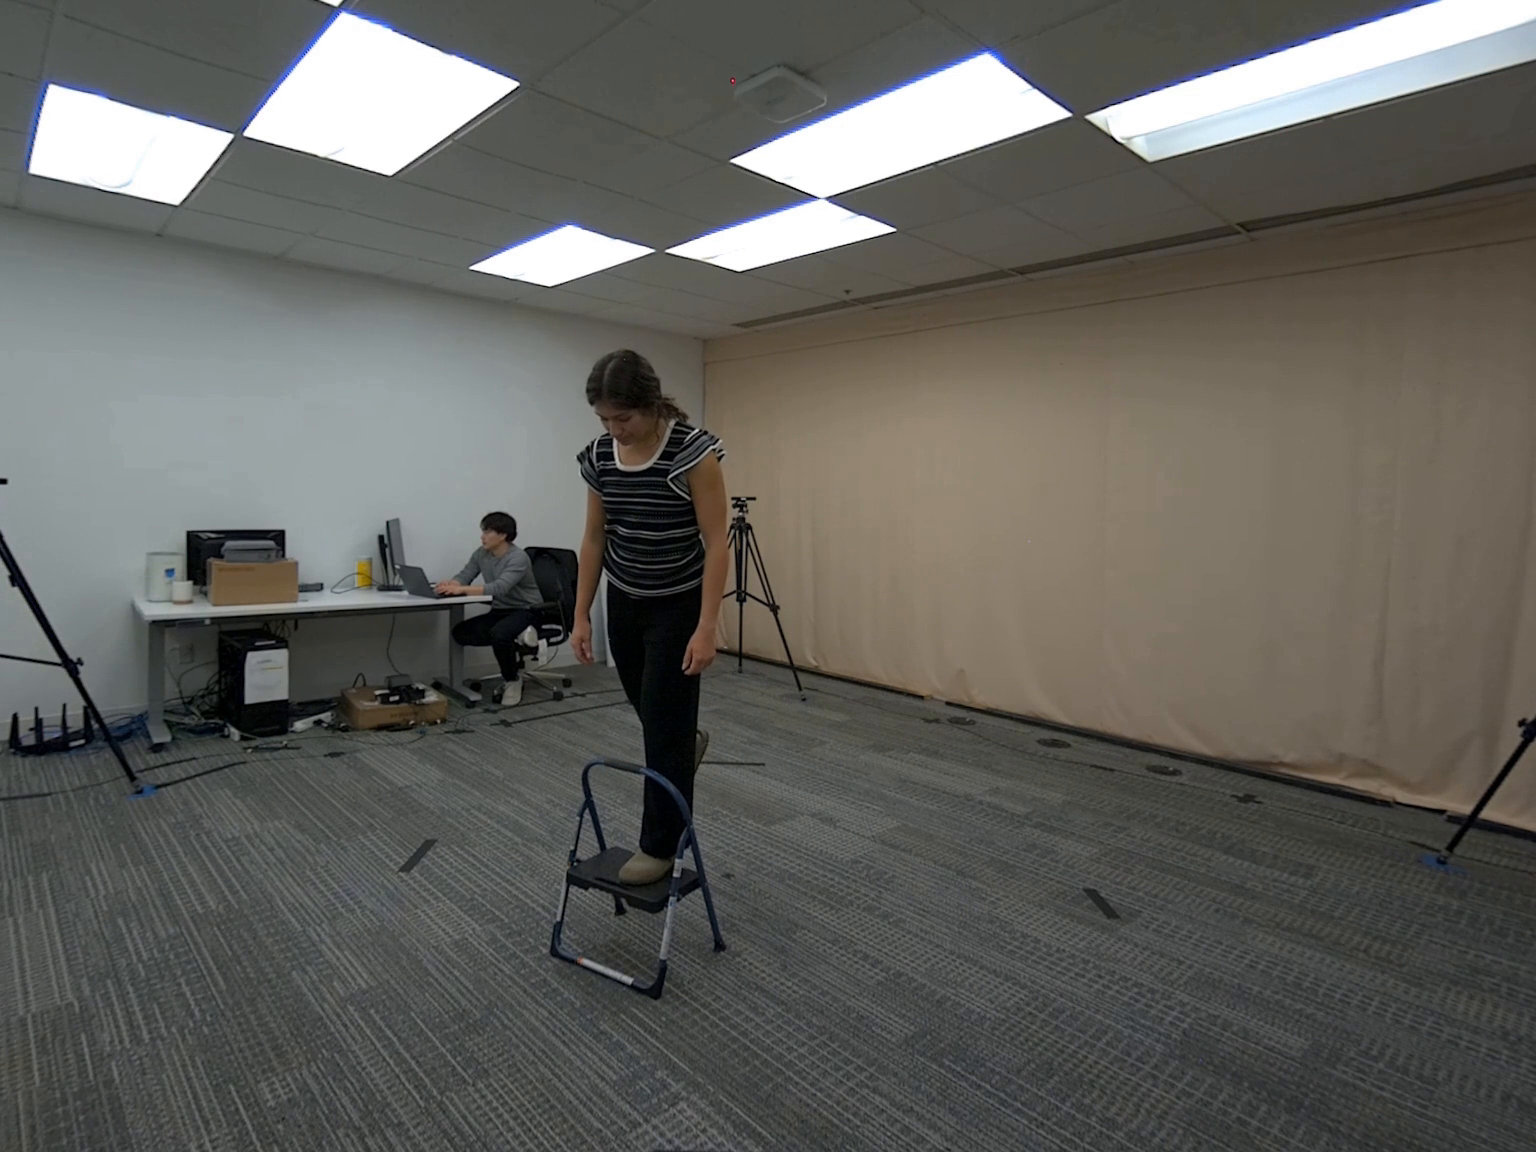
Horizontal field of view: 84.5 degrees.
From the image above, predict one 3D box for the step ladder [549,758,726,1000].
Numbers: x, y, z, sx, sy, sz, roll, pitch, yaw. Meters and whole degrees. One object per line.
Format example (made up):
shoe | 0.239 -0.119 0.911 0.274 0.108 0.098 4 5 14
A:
step ladder | -0.400 0.851 2.559 0.440 0.605 0.342 3 4 31
